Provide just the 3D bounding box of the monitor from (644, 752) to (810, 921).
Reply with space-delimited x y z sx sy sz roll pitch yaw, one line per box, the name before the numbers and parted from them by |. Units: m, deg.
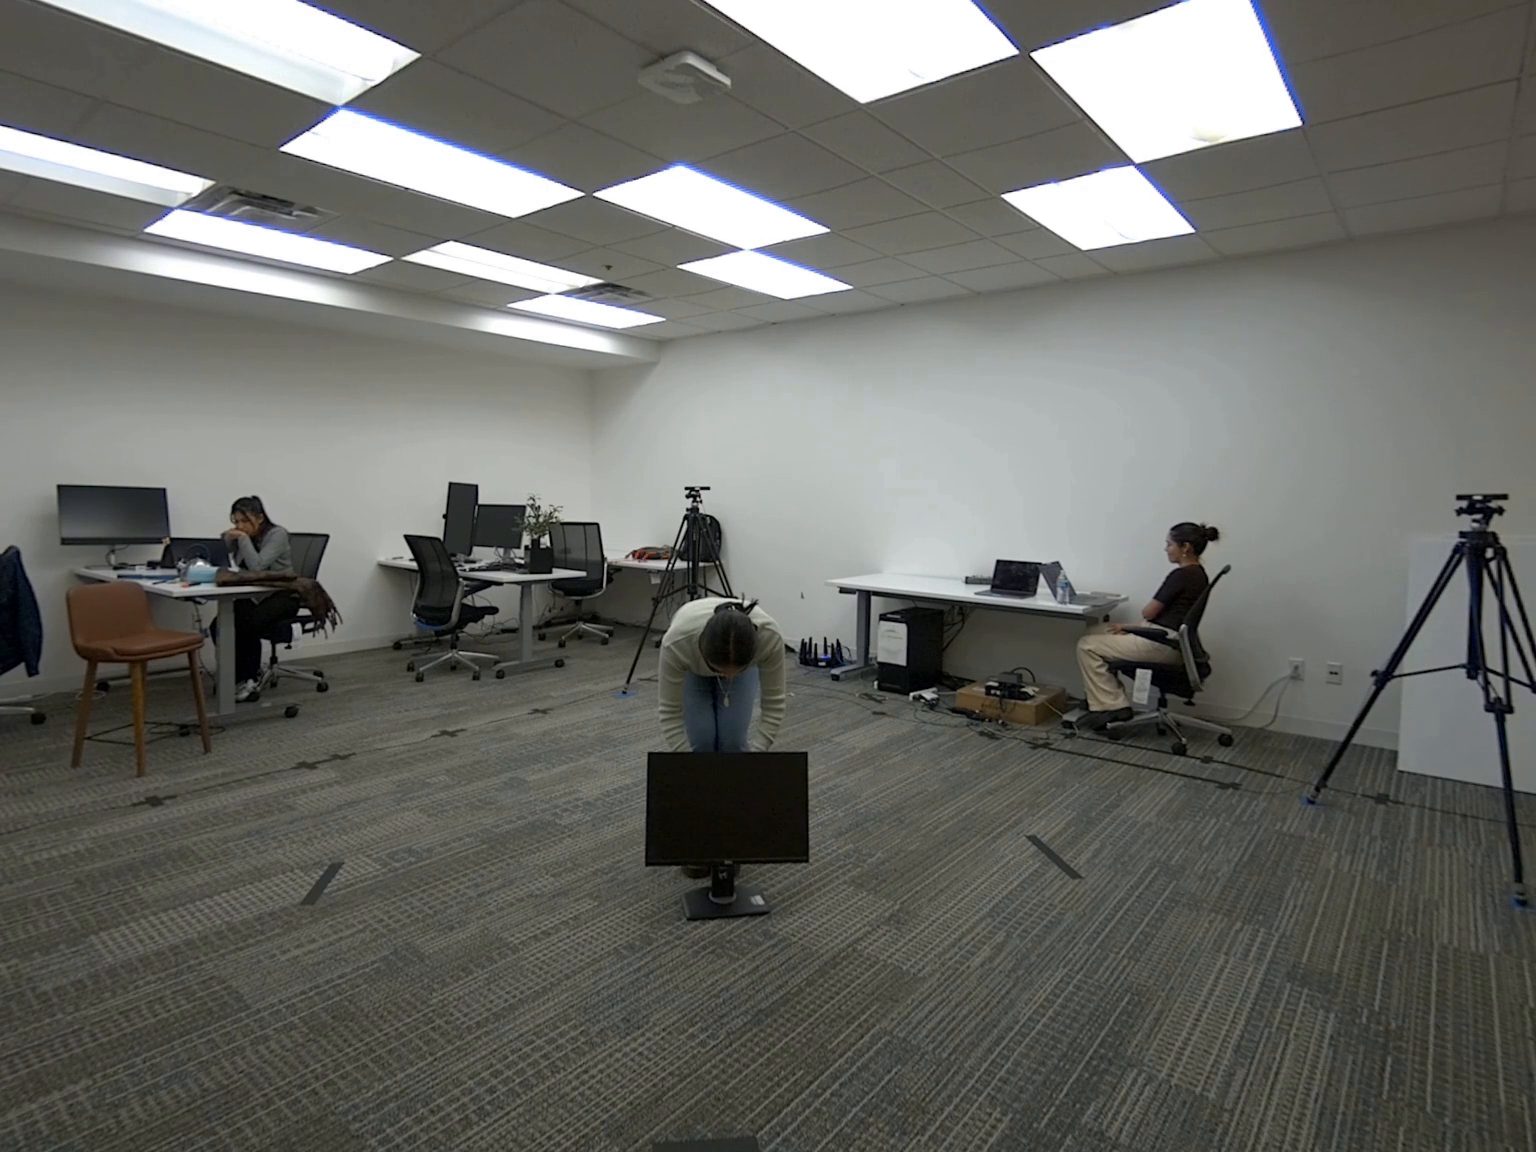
monitor | -0.148 0.834 2.808 0.525 0.512 0.178 1 8 -9
